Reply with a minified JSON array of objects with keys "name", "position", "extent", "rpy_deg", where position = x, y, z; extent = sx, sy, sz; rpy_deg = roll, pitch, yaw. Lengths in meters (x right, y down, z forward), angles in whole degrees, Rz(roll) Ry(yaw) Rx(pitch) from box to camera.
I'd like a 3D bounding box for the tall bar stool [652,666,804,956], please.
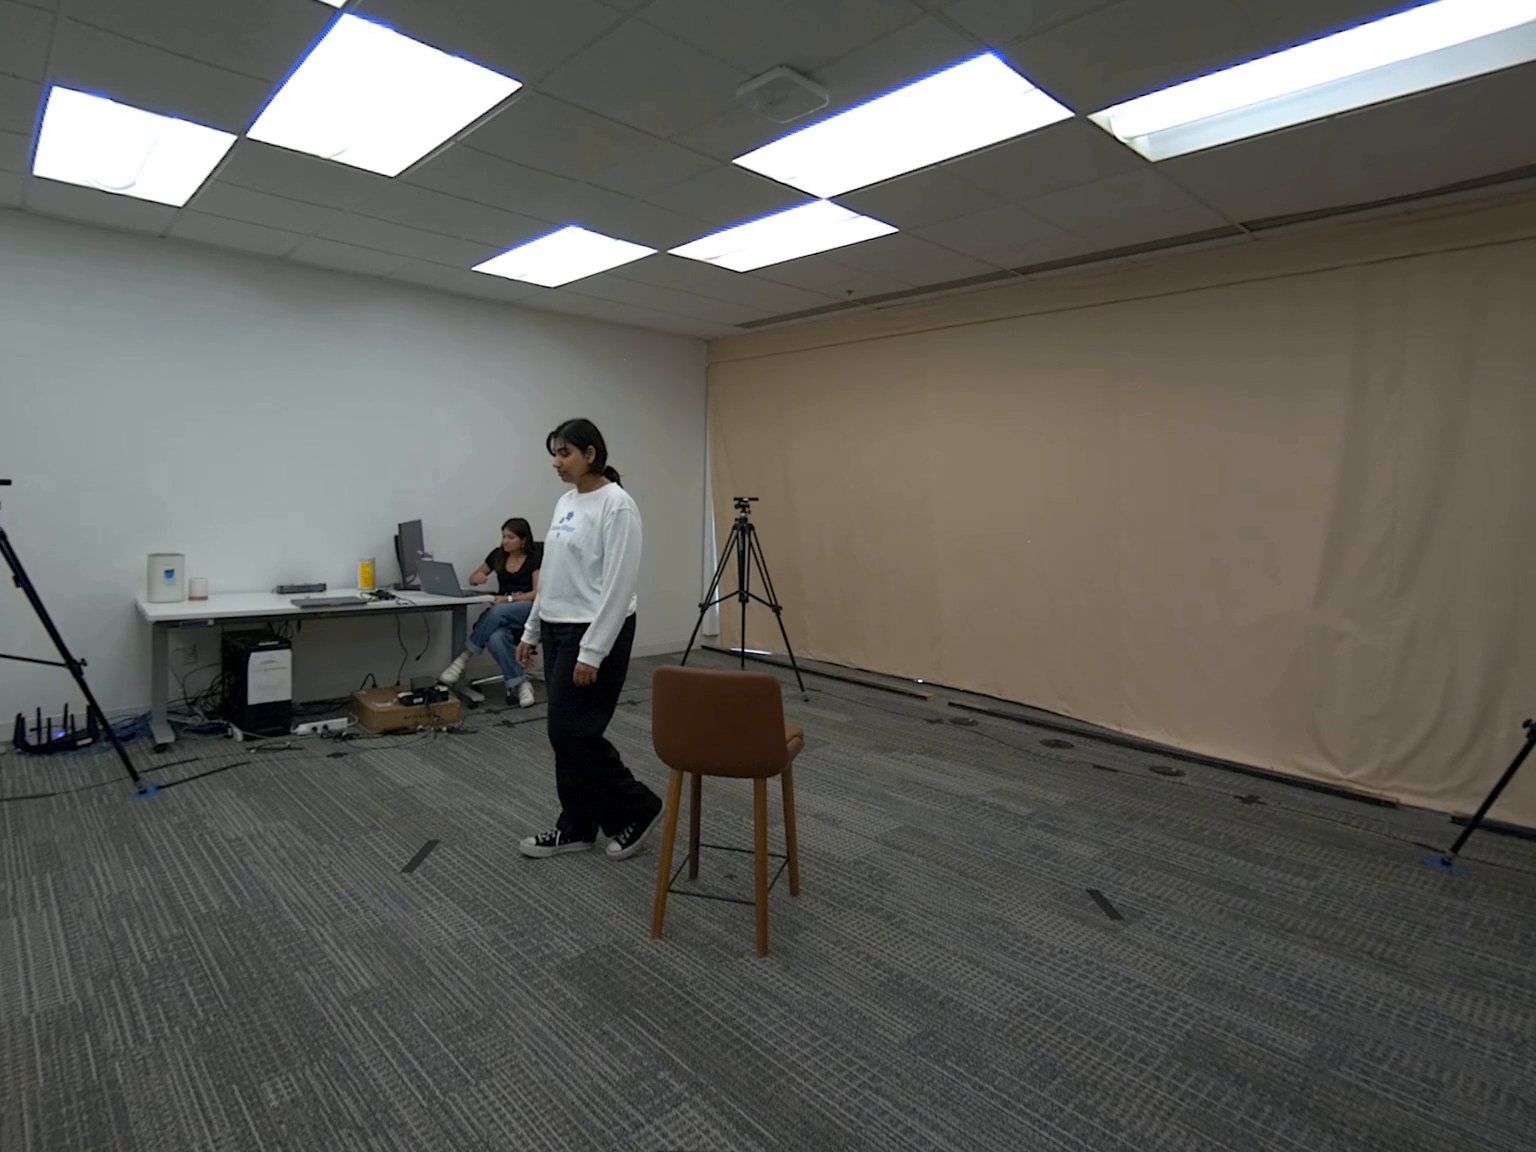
[{"name":"tall bar stool","position":[-0.133,0.703,2.789],"extent":[0.462,0.886,0.463],"rpy_deg":[2,5,15]}]
